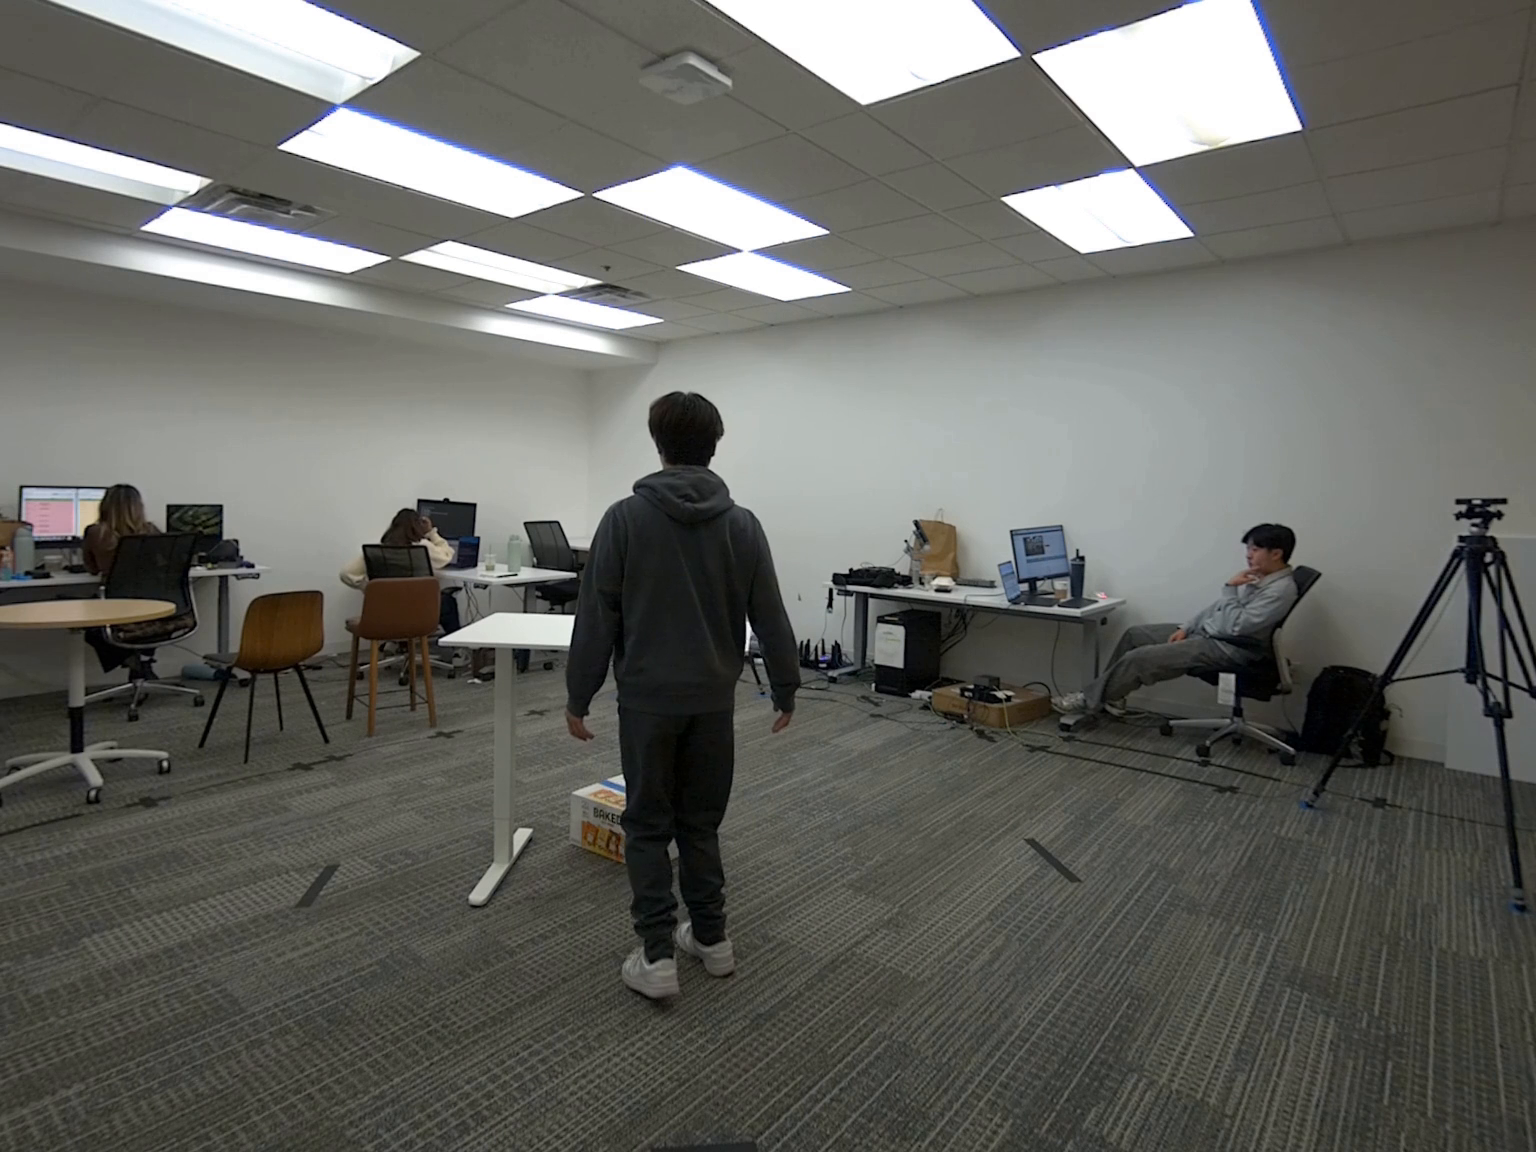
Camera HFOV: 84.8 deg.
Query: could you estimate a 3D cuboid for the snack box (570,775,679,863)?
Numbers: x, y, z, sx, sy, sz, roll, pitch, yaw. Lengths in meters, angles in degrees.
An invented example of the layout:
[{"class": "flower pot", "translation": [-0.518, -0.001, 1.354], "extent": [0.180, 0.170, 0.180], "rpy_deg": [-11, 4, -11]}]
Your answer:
[{"class": "snack box", "translation": [-0.514, 0.941, 3.314], "extent": [0.418, 0.205, 0.331], "rpy_deg": [4, 6, 35]}]
